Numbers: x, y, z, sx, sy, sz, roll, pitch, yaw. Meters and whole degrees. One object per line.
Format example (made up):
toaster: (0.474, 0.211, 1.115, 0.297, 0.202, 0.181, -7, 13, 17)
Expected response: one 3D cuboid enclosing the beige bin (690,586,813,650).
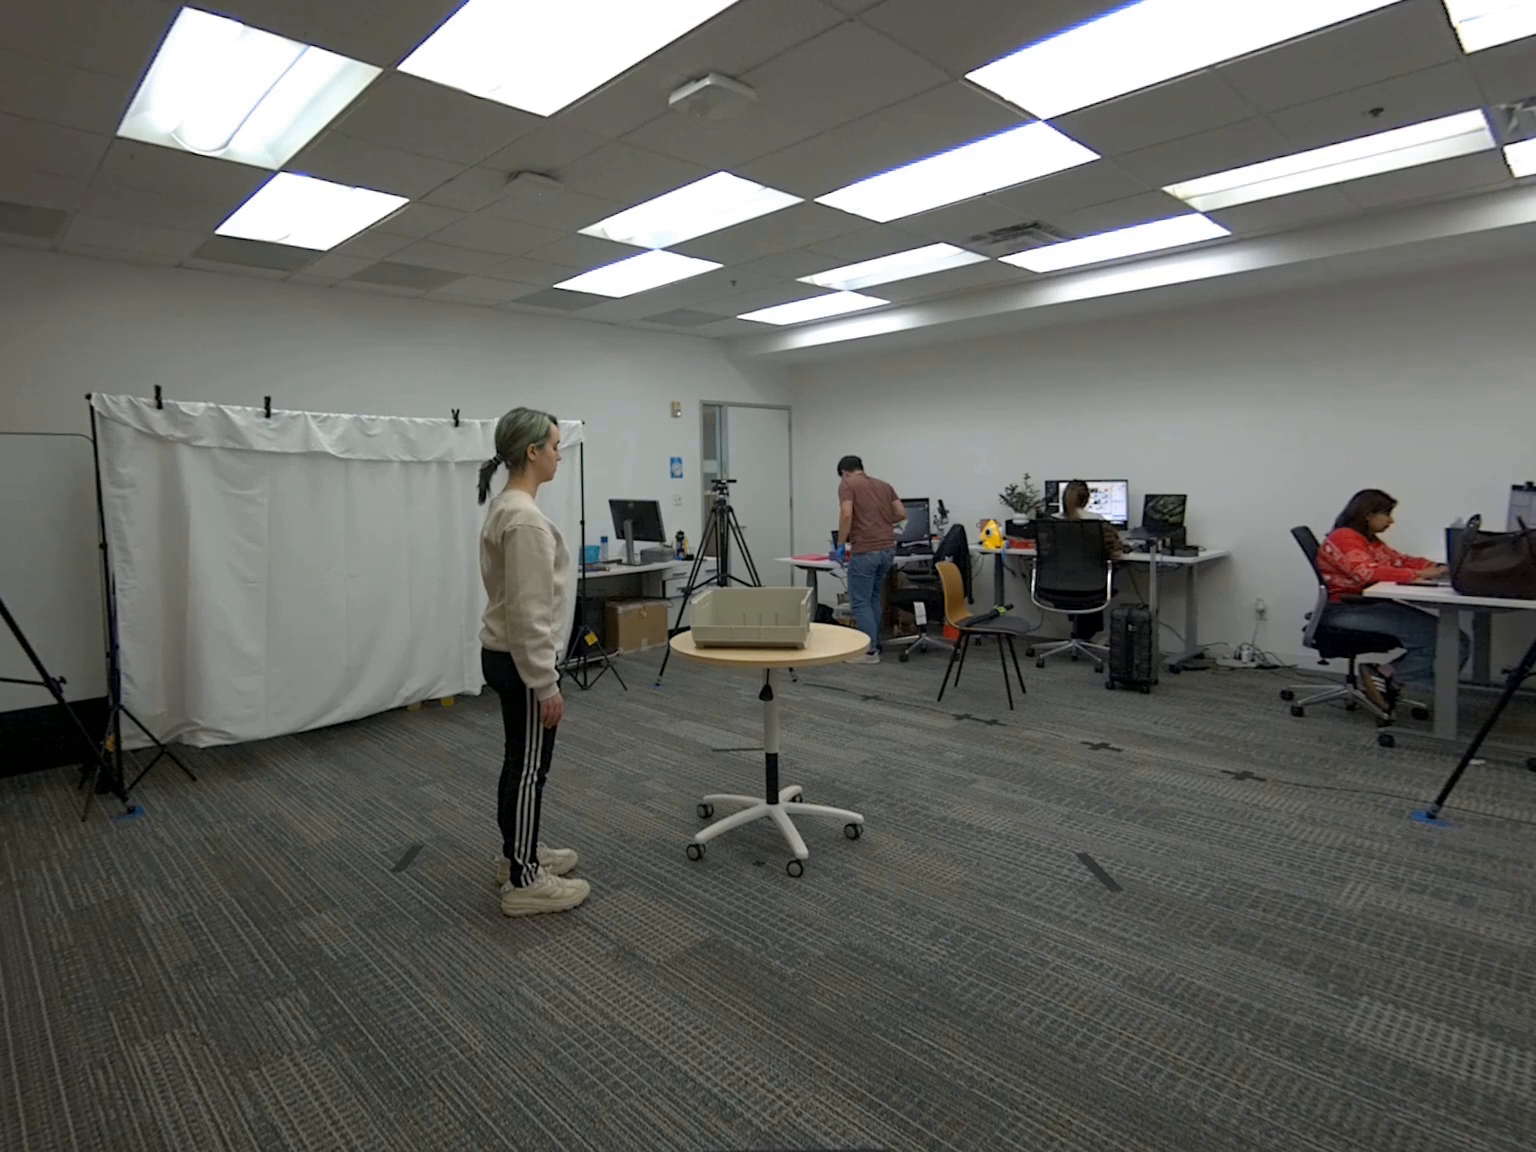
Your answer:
beige bin: (-0.051, 0.155, 3.238, 0.426, 0.188, 0.375, -1, 4, 9)
